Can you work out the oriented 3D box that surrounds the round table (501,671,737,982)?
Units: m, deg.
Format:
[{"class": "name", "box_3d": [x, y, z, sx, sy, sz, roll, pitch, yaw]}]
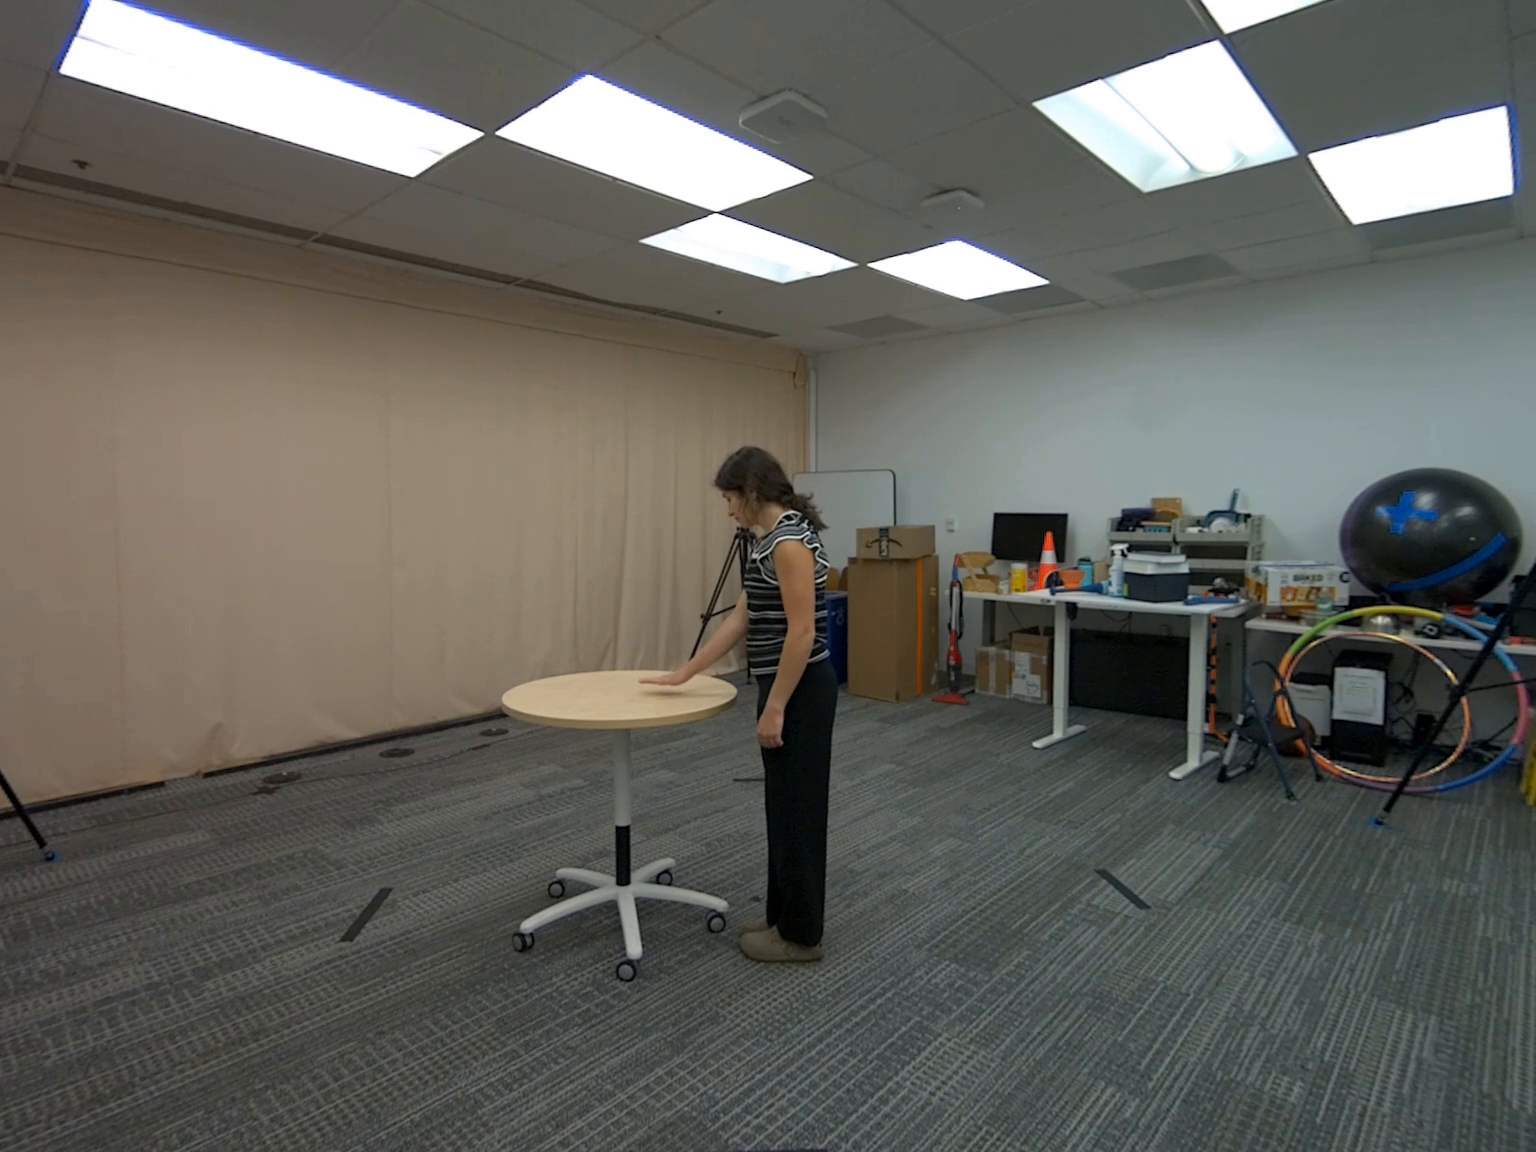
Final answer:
[{"class": "round table", "box_3d": [-0.486, 0.777, 2.789, 0.763, 0.792, 0.766, 0, 3, -2]}]
